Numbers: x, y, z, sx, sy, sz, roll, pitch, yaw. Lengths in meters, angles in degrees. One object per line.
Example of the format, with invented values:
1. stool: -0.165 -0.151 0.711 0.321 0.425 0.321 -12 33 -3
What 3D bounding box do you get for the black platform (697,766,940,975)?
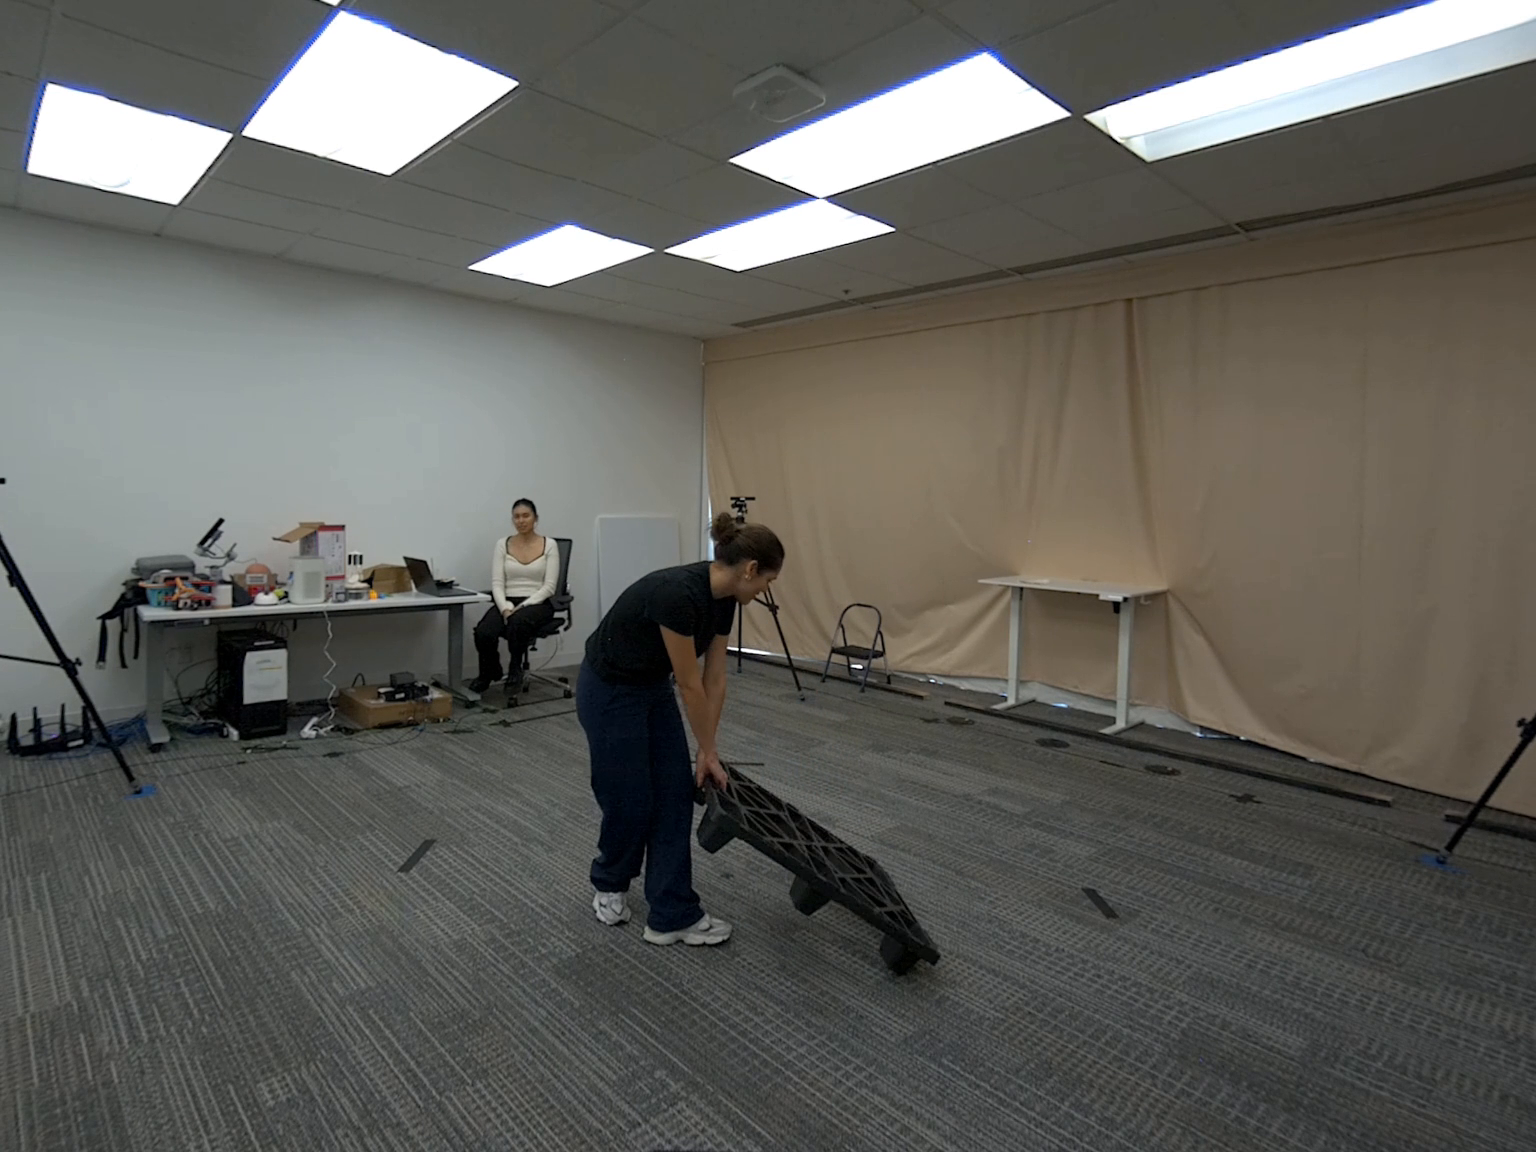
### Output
1. black platform: 0.090 0.890 2.648 0.799 0.143 0.610 36 -1 -9
